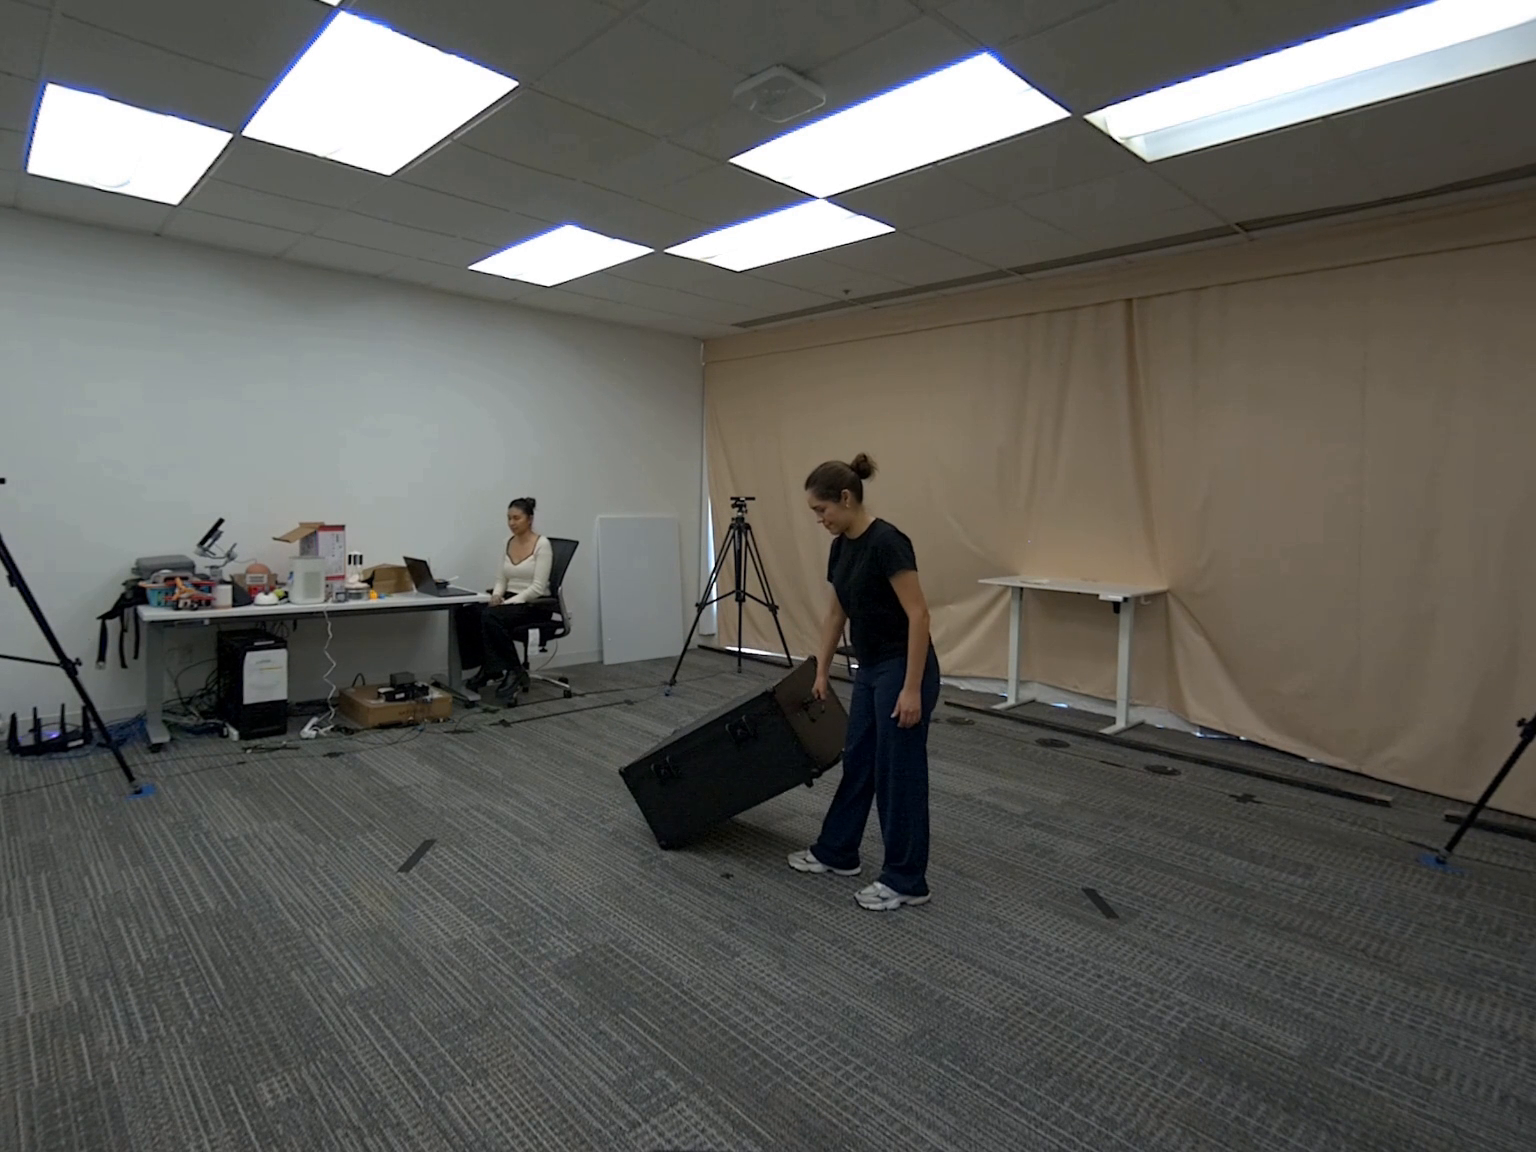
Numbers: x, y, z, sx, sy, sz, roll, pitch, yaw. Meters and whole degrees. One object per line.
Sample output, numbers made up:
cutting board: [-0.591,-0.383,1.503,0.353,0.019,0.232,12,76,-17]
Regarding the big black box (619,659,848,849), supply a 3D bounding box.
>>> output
big black box: [-0.136,0.729,3.390,0.867,0.399,0.515,-32,-5,25]
